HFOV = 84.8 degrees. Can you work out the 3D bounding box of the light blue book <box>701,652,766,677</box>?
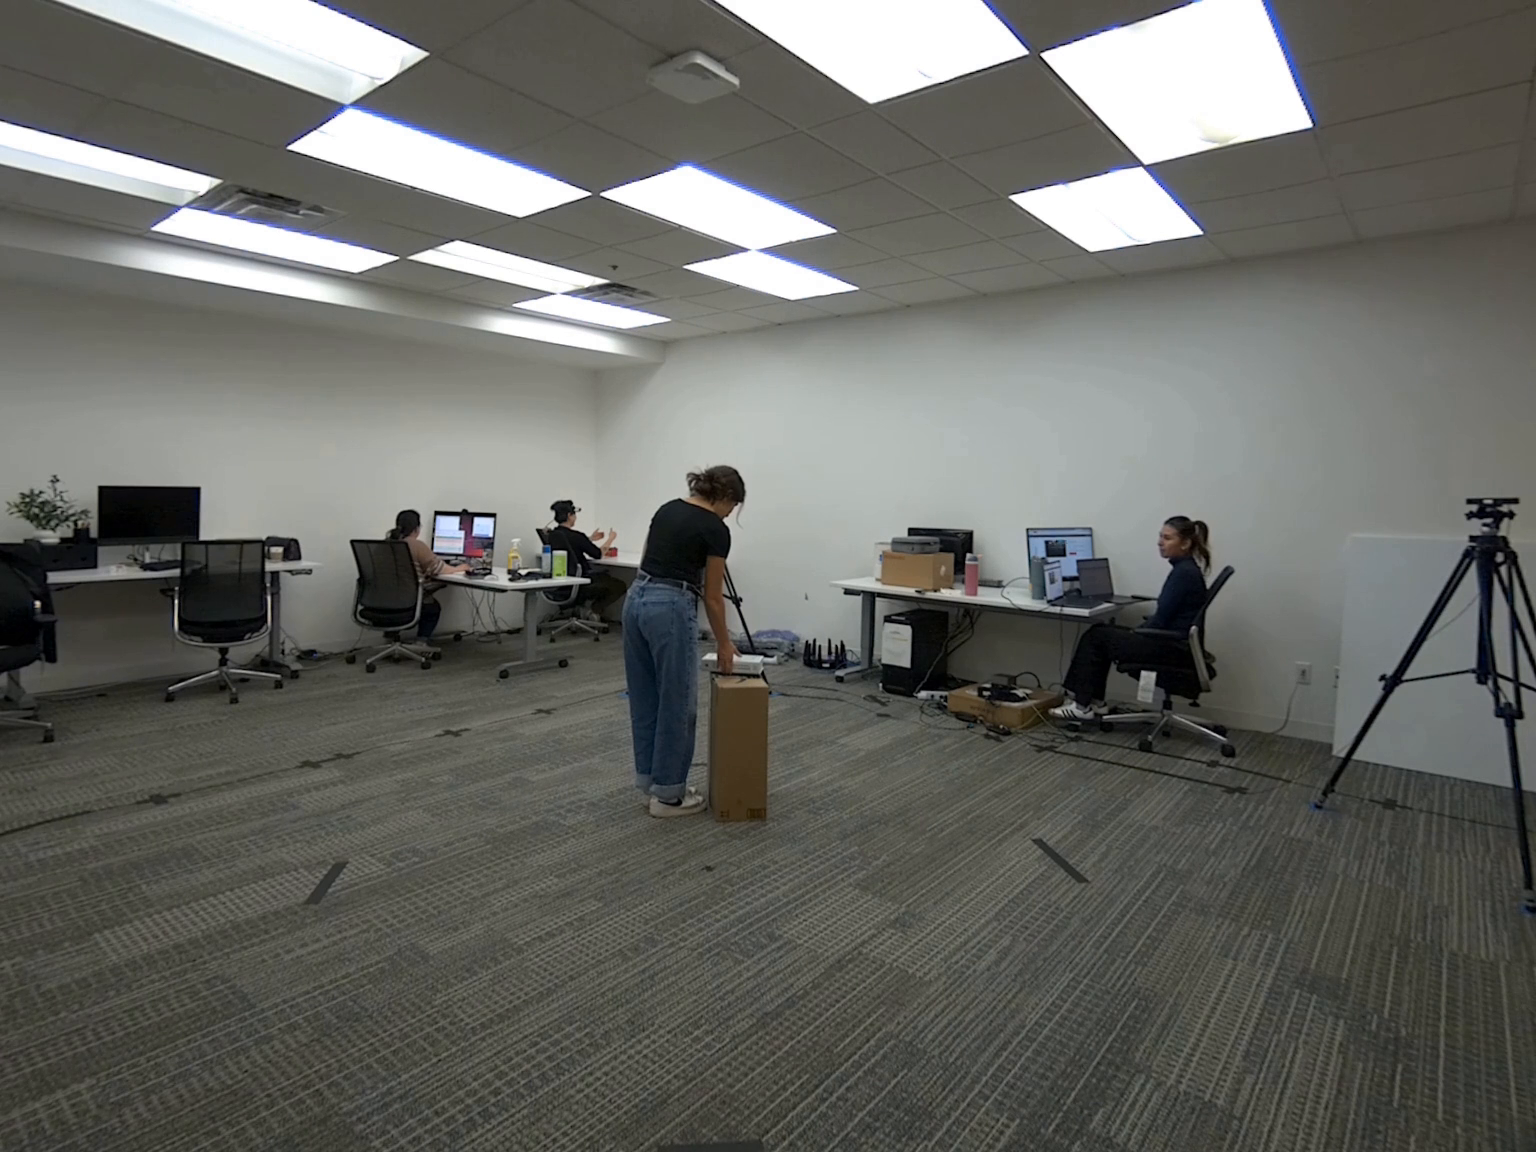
[{"bbox_3d":[-0.171,0.399,3.883,0.263,0.059,0.190,3,3,7],"label":"light blue book"}]
